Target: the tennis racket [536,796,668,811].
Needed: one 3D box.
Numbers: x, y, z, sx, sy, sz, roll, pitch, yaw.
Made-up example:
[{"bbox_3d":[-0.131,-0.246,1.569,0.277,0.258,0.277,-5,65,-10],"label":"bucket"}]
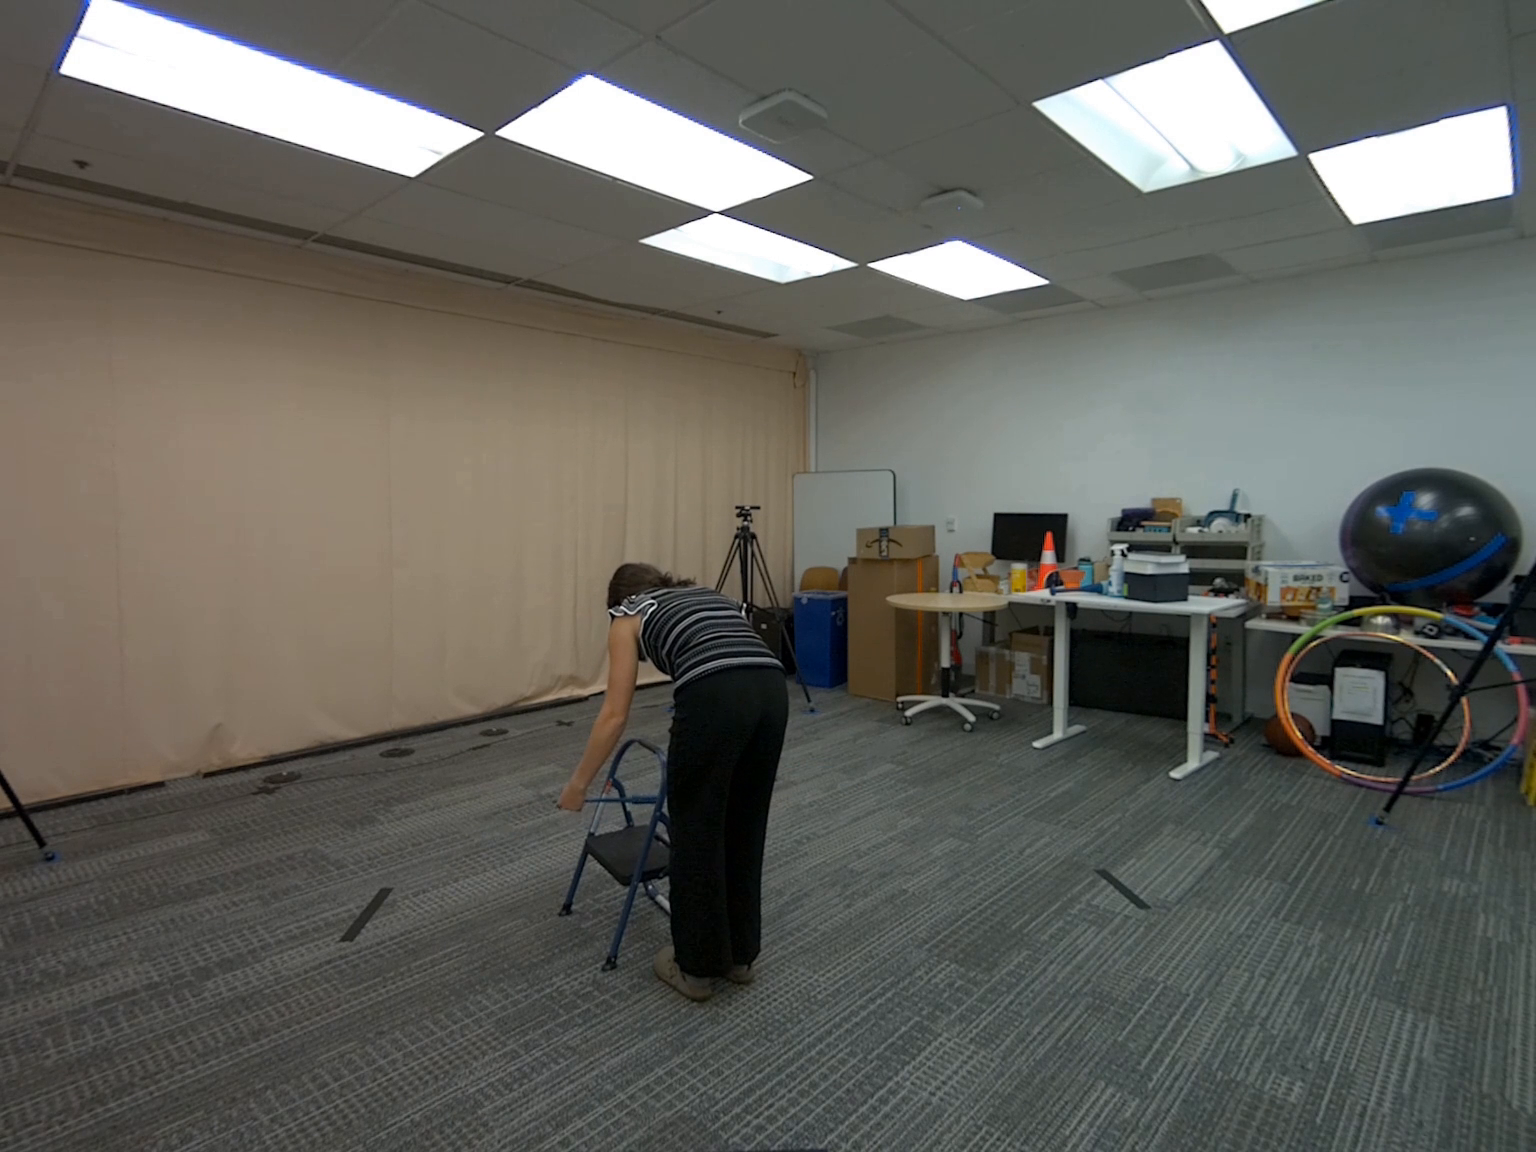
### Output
[{"bbox_3d":[-0.487,0.713,2.671,0.219,0.032,0.417,-12,-18,41],"label":"tennis racket"}]
